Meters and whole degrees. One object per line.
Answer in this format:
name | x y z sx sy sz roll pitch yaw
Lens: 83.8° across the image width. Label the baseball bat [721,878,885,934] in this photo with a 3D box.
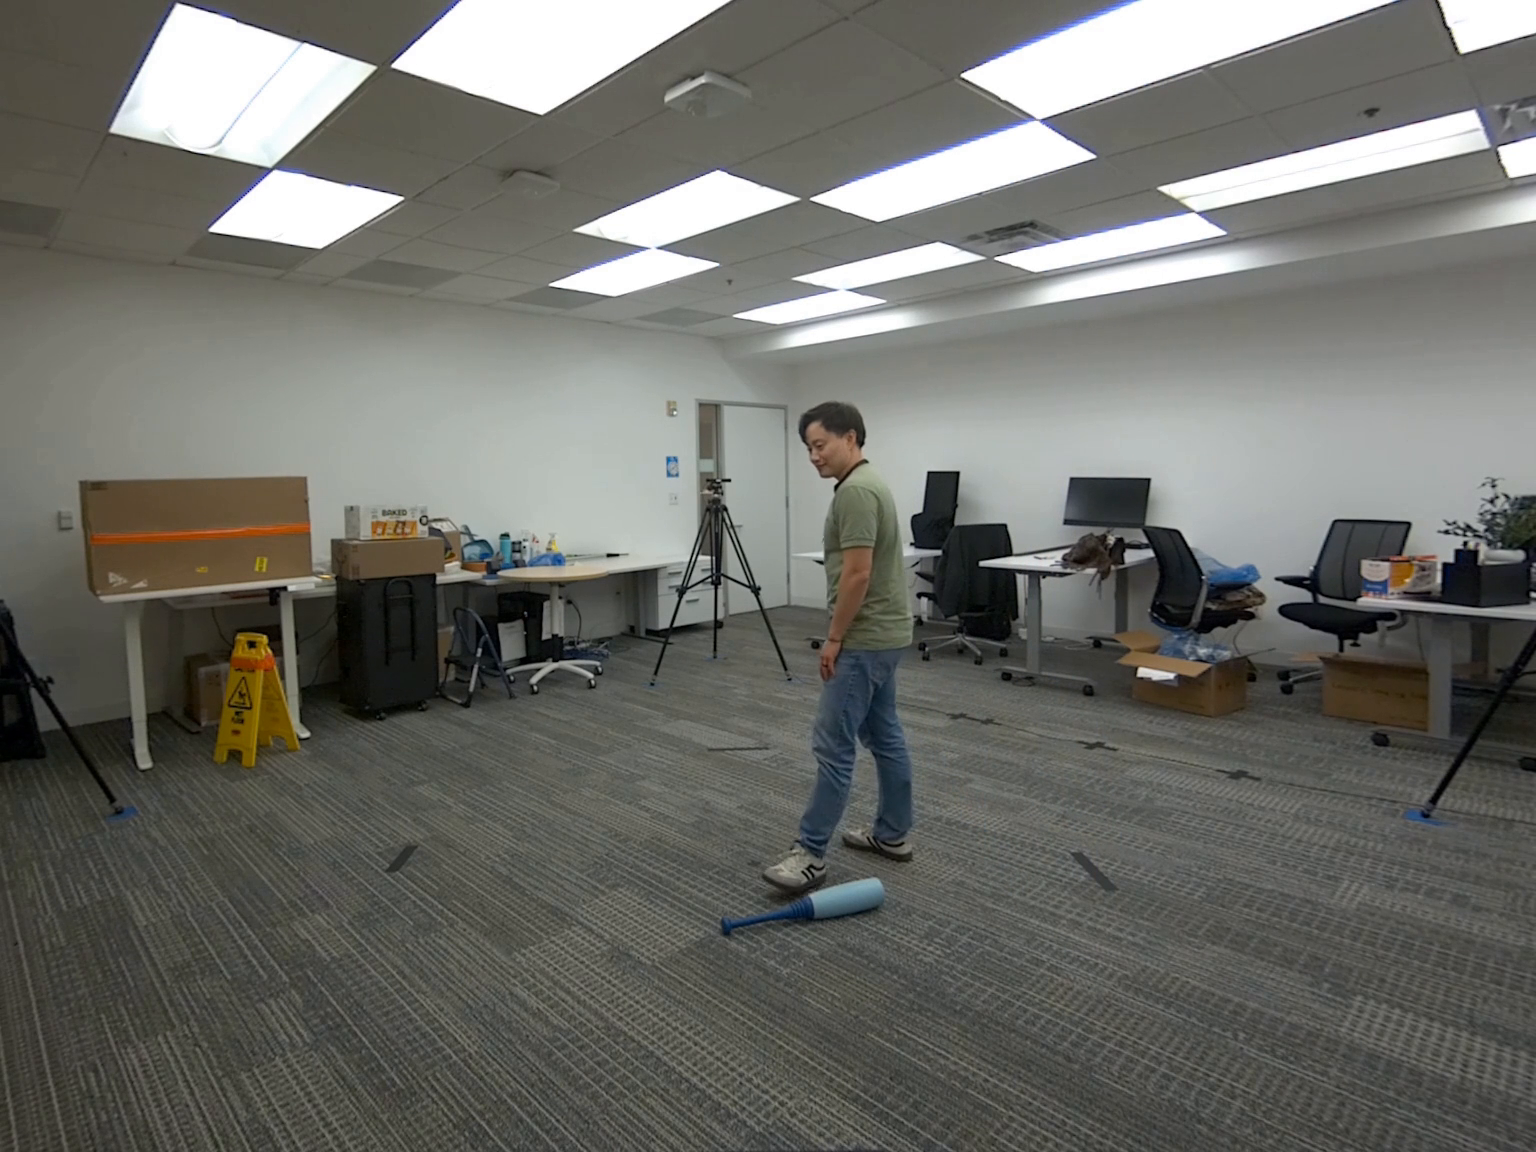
baseball bat | 0.118 1.051 2.699 0.535 0.088 0.091 -6 6 -16
